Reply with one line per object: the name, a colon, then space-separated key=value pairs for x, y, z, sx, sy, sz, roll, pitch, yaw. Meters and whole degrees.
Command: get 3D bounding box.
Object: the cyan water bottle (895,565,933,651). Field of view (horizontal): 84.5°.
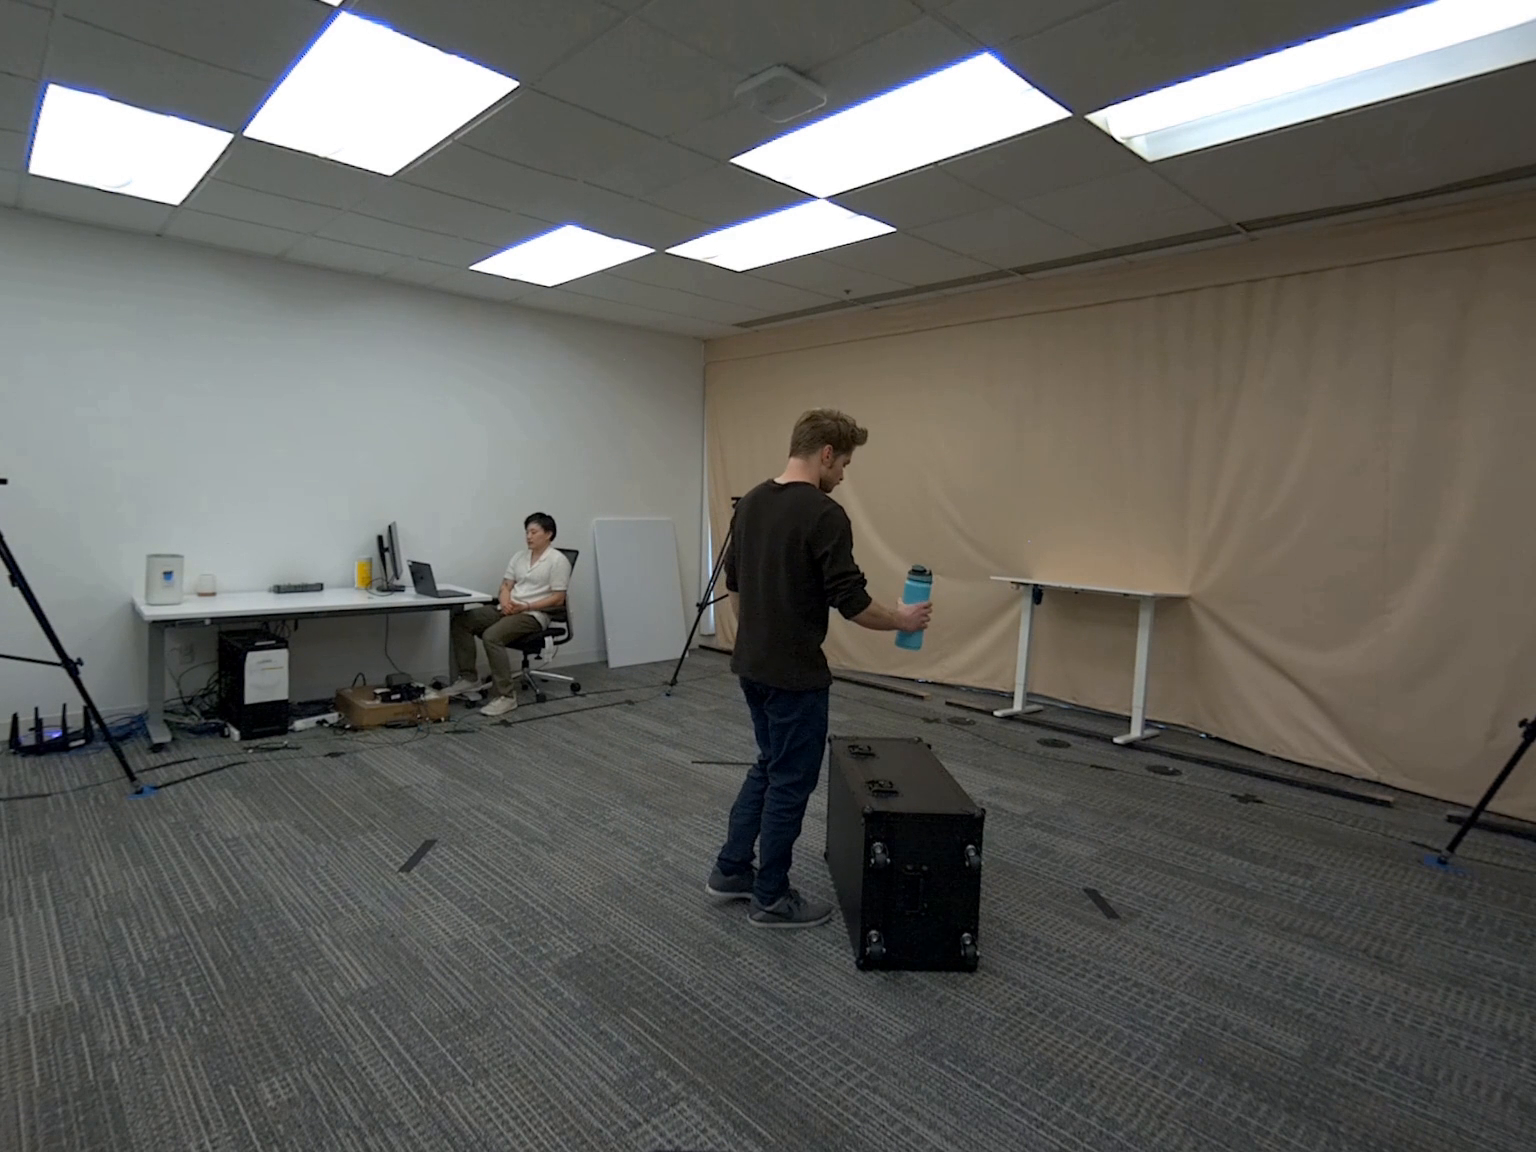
cyan water bottle: x=0.487 y=0.101 z=2.832 sx=0.092 sy=0.283 sz=0.093 roll=11 pitch=4 yaw=-2
